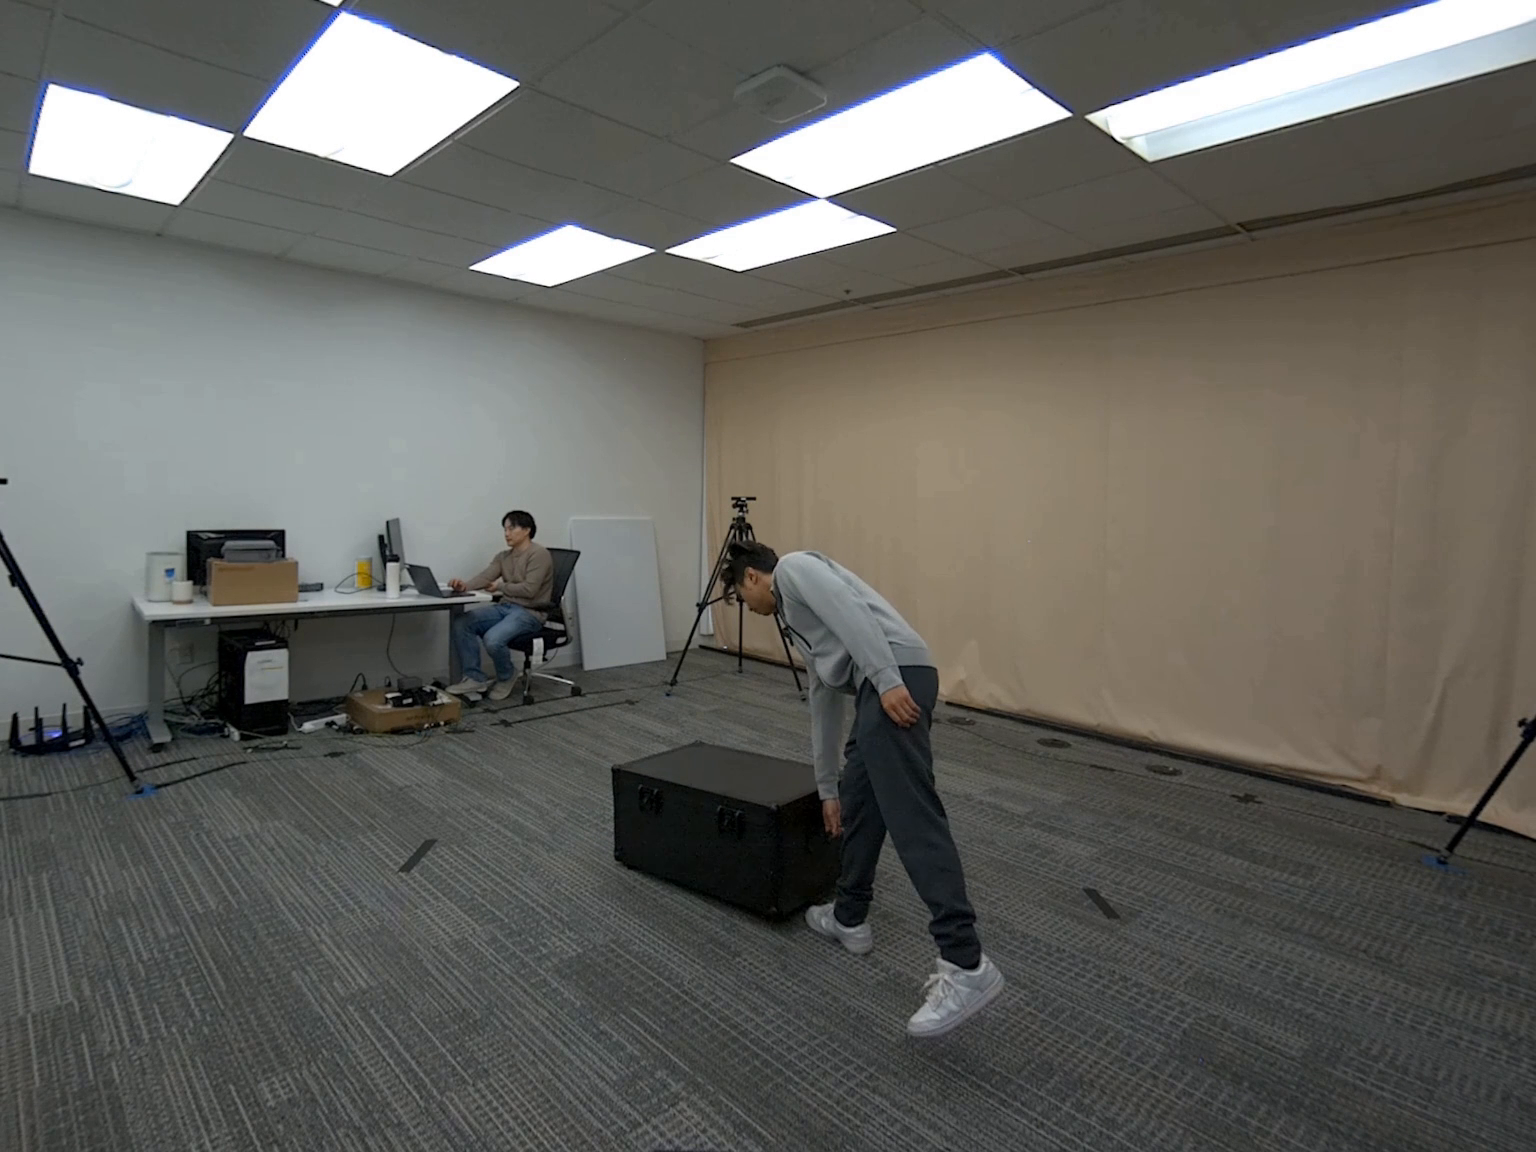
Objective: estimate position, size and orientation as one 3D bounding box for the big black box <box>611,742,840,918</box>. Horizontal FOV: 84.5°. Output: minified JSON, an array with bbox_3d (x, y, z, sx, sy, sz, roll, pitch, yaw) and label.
[{"bbox_3d":[-0.119,0.904,3.086,0.882,0.396,0.510,1,4,40],"label":"big black box"}]
